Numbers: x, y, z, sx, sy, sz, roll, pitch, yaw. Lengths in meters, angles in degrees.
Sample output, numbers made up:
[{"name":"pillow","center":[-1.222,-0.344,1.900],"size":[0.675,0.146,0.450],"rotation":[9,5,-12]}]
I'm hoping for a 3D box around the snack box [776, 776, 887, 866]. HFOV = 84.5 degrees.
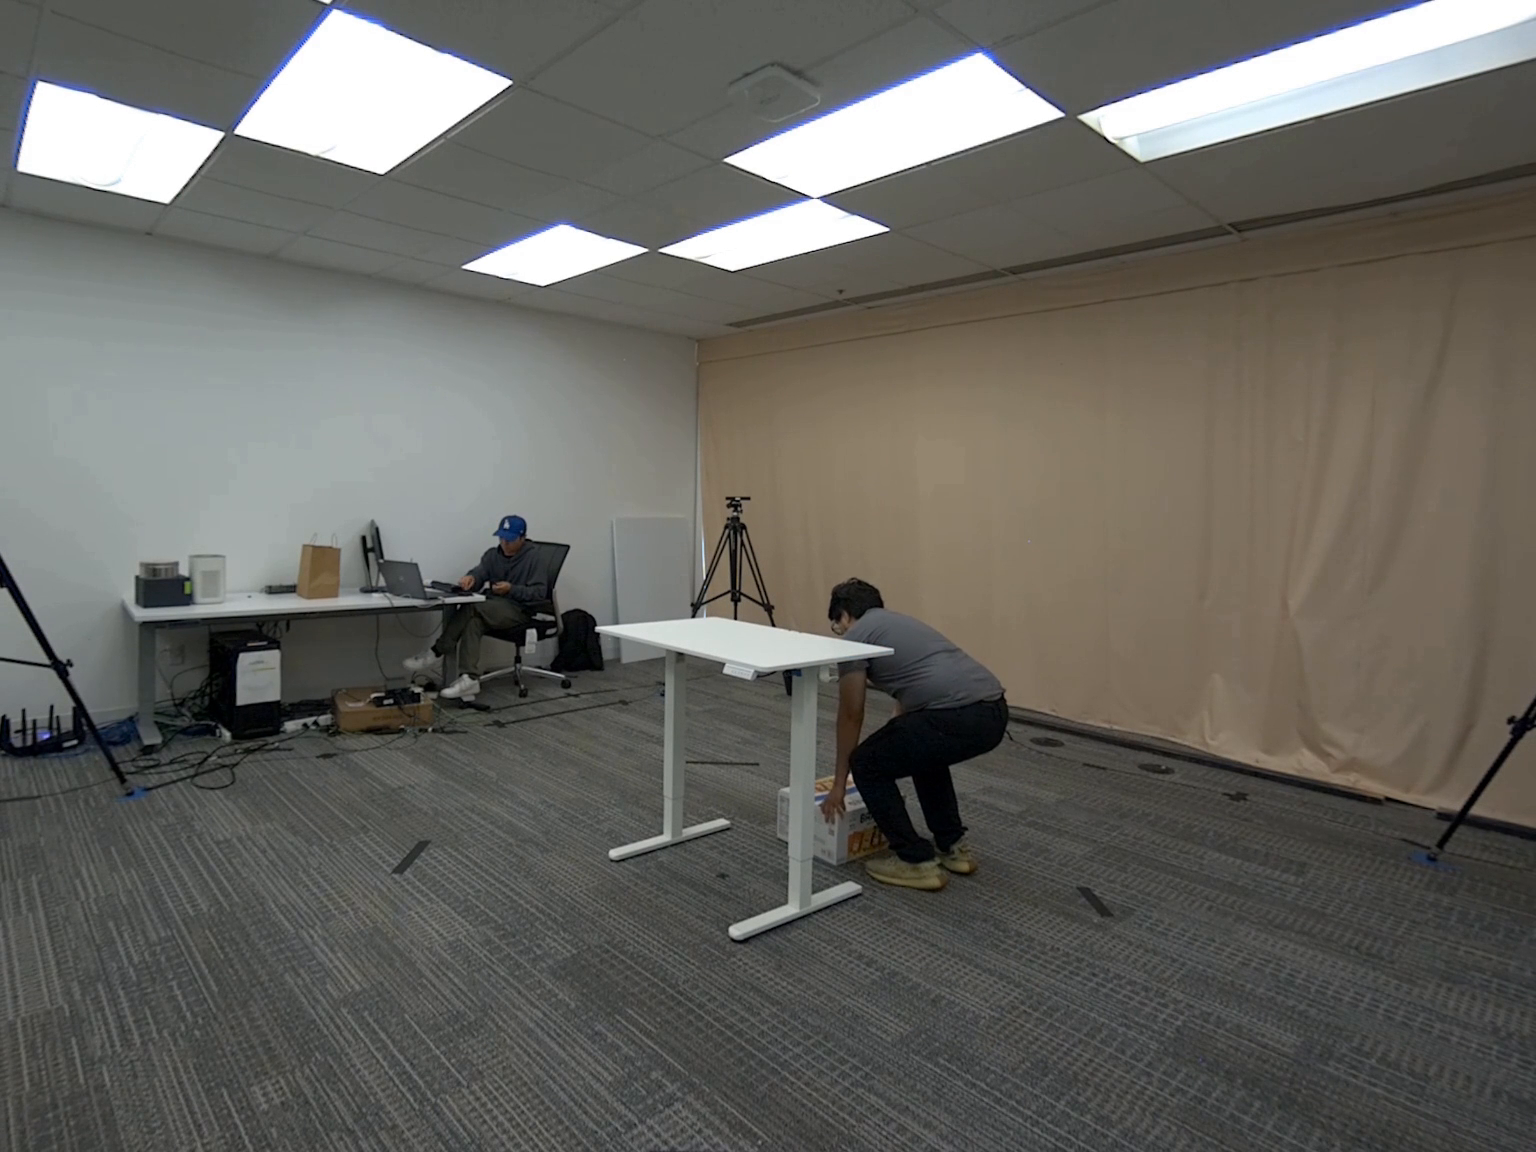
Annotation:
[{"name":"snack box","center":[0.295,0.986,3.454],"size":[0.396,0.205,0.349],"rotation":[-2,5,-41]}]
